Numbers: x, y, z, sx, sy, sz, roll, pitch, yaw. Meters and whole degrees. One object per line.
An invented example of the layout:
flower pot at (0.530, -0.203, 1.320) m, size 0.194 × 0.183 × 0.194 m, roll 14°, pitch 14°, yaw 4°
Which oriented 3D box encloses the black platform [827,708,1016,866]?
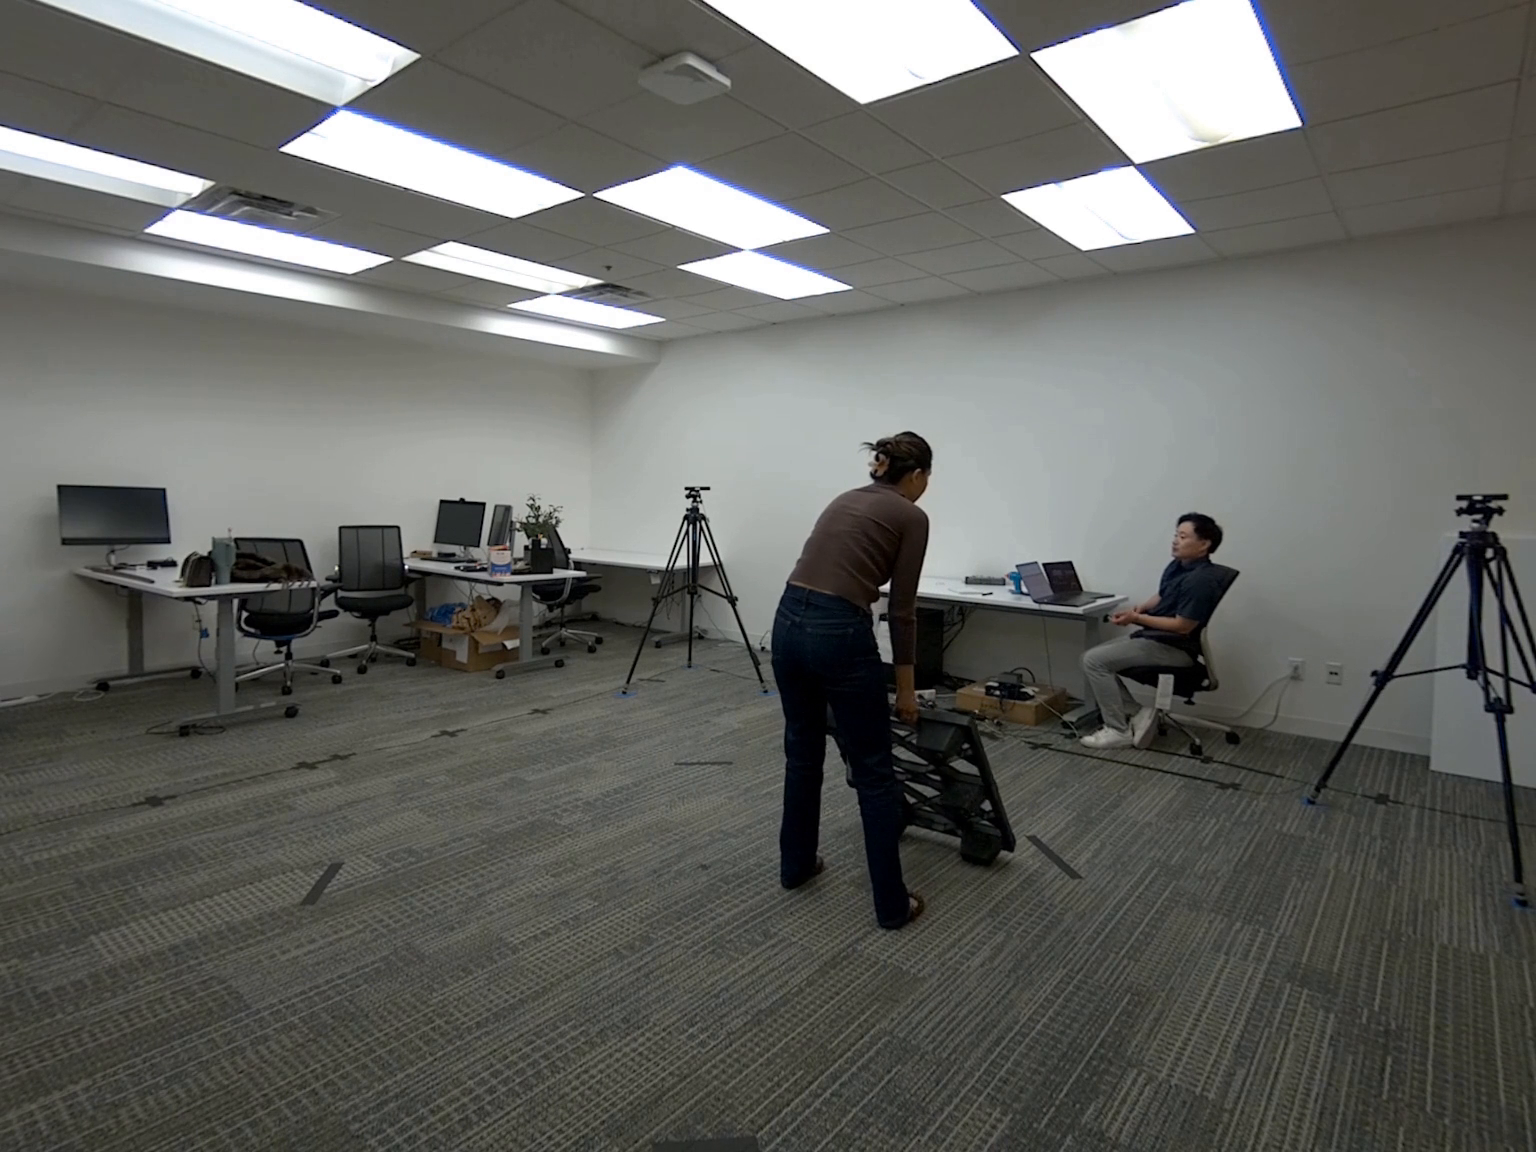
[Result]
black platform at (0.520, 0.751, 3.144) m, size 0.624 × 0.776 × 0.144 m, roll 4°, pitch 45°, yaw 35°
